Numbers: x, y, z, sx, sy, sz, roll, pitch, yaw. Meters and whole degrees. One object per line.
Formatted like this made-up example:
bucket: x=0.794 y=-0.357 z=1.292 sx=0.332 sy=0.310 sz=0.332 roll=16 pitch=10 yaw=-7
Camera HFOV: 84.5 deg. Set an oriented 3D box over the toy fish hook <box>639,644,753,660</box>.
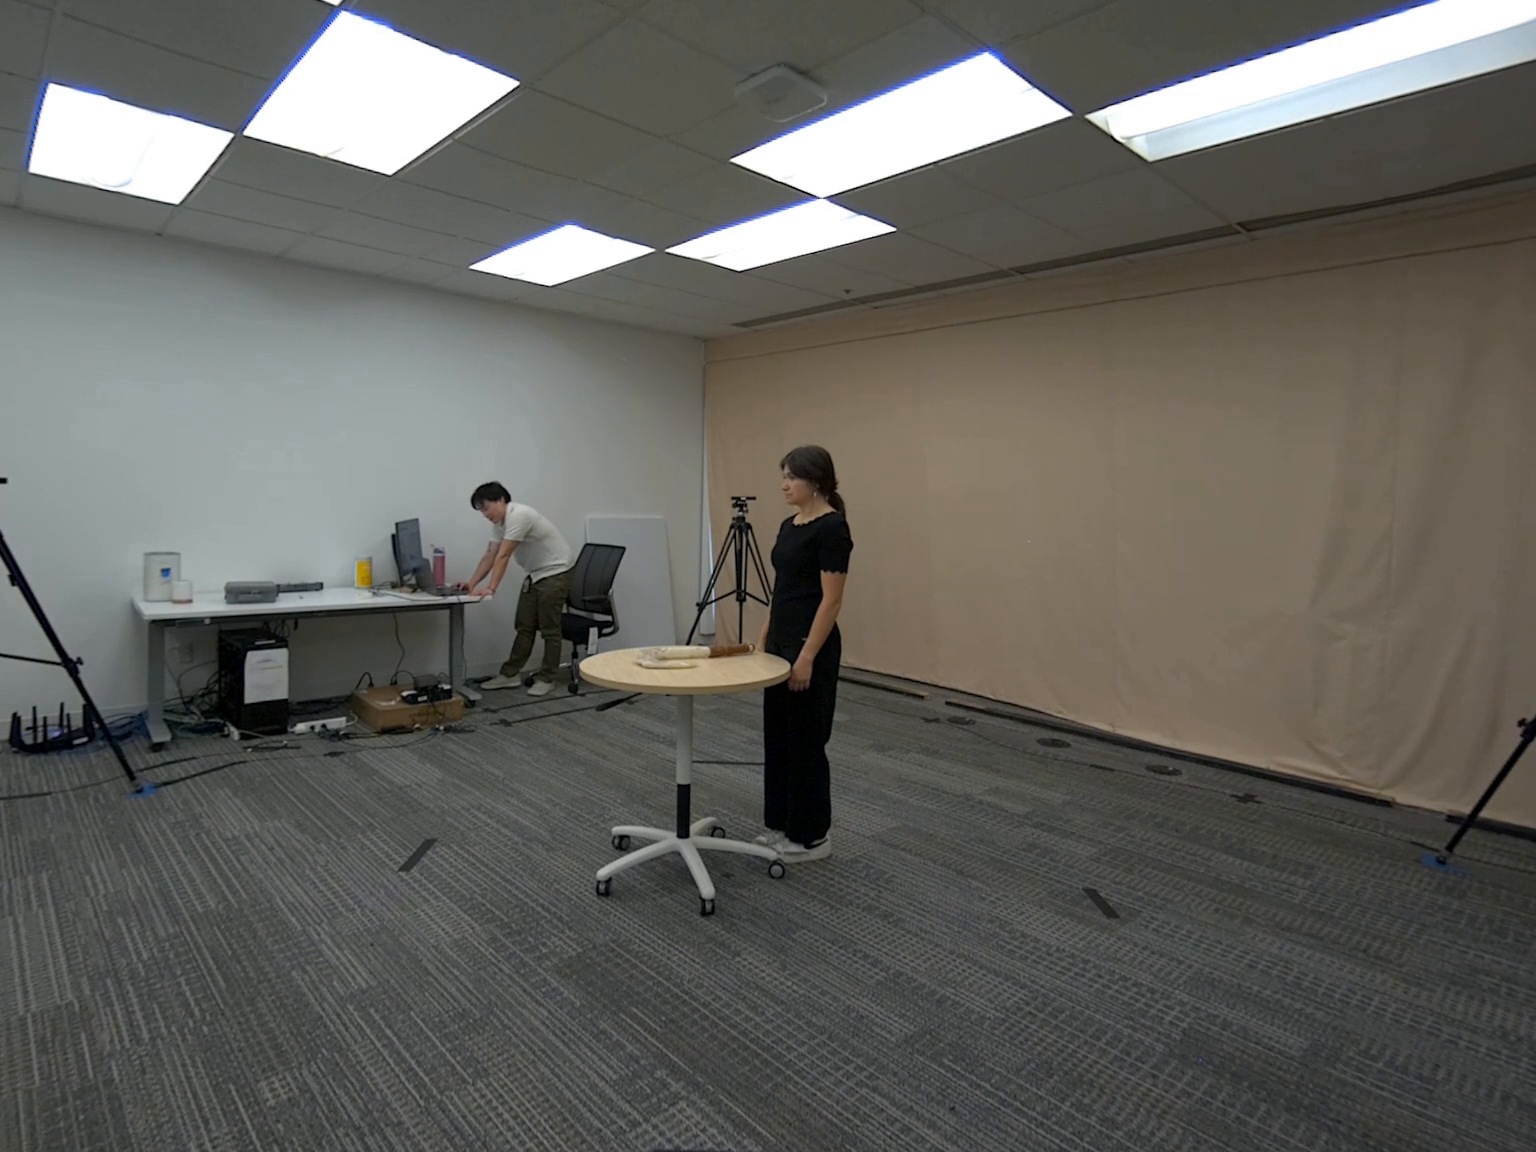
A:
toy fish hook: x=-0.255 y=0.305 z=3.132 sx=0.497 sy=0.048 sz=0.231 roll=-3 pitch=13 yaw=-30
